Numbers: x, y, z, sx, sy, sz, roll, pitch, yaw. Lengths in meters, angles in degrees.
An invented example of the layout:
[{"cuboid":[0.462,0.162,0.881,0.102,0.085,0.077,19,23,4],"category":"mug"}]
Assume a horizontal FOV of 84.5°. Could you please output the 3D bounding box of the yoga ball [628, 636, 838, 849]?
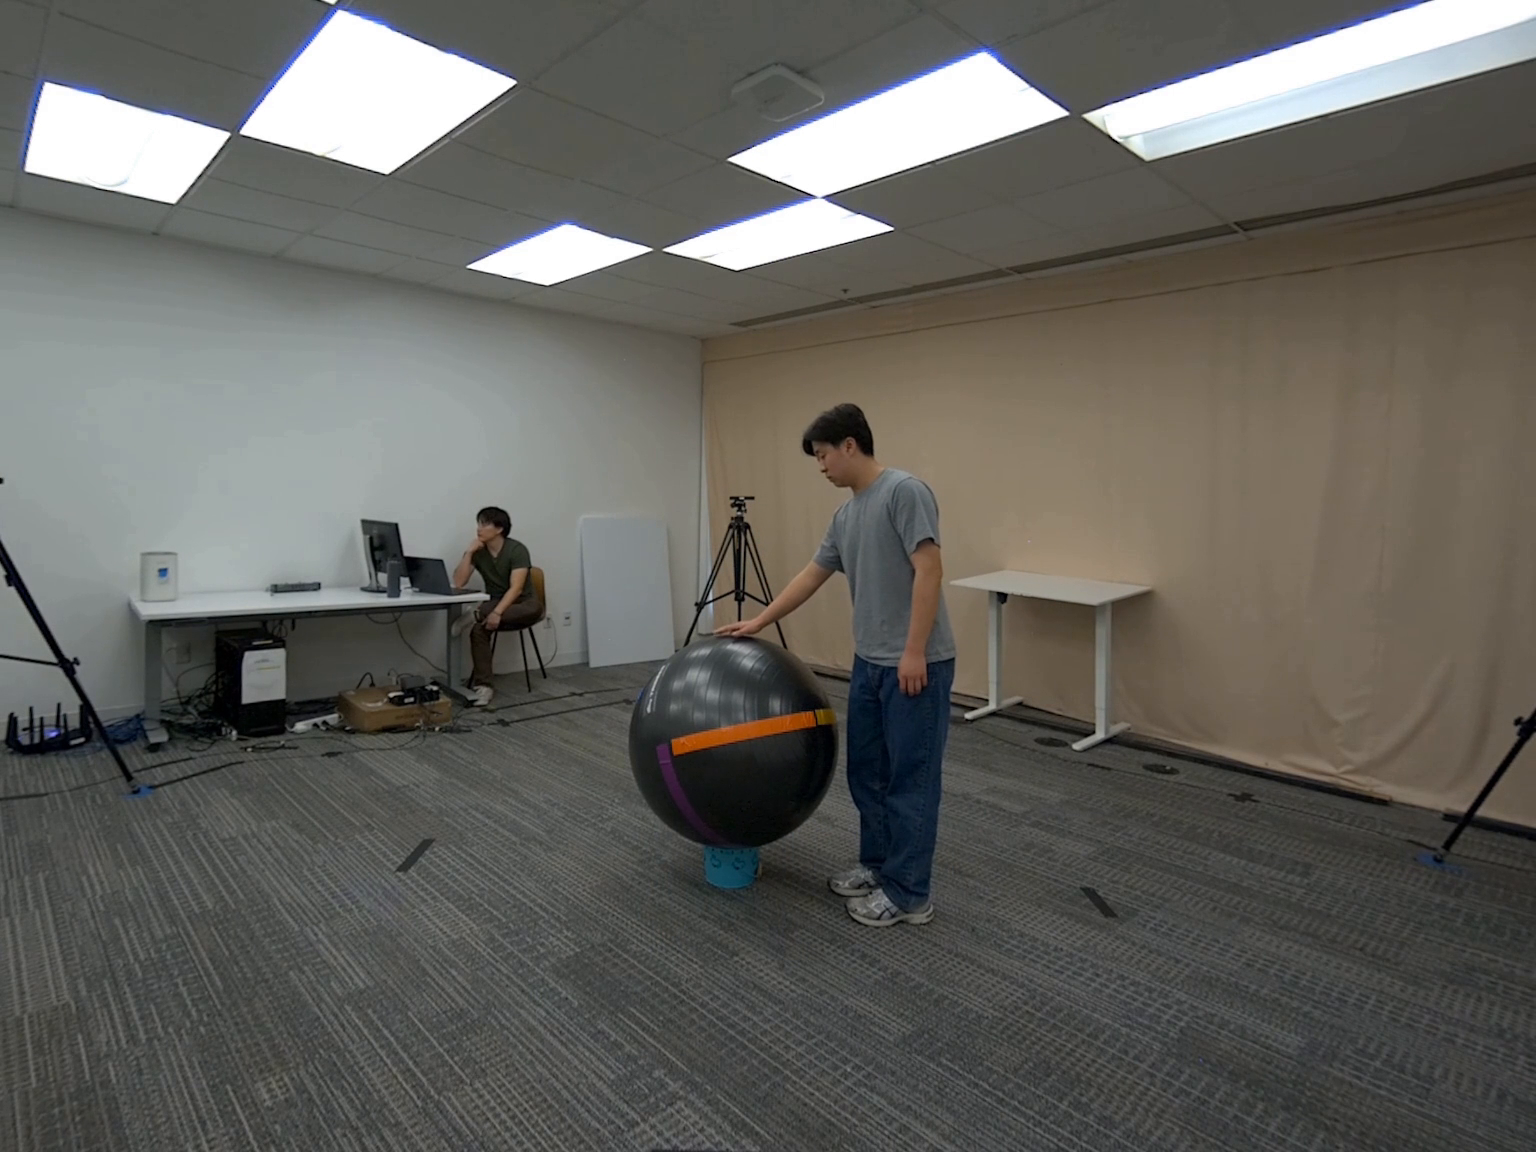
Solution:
[{"cuboid":[-0.129,0.592,3.066,0.757,0.756,0.761,1,4,-1],"category":"yoga ball"}]
